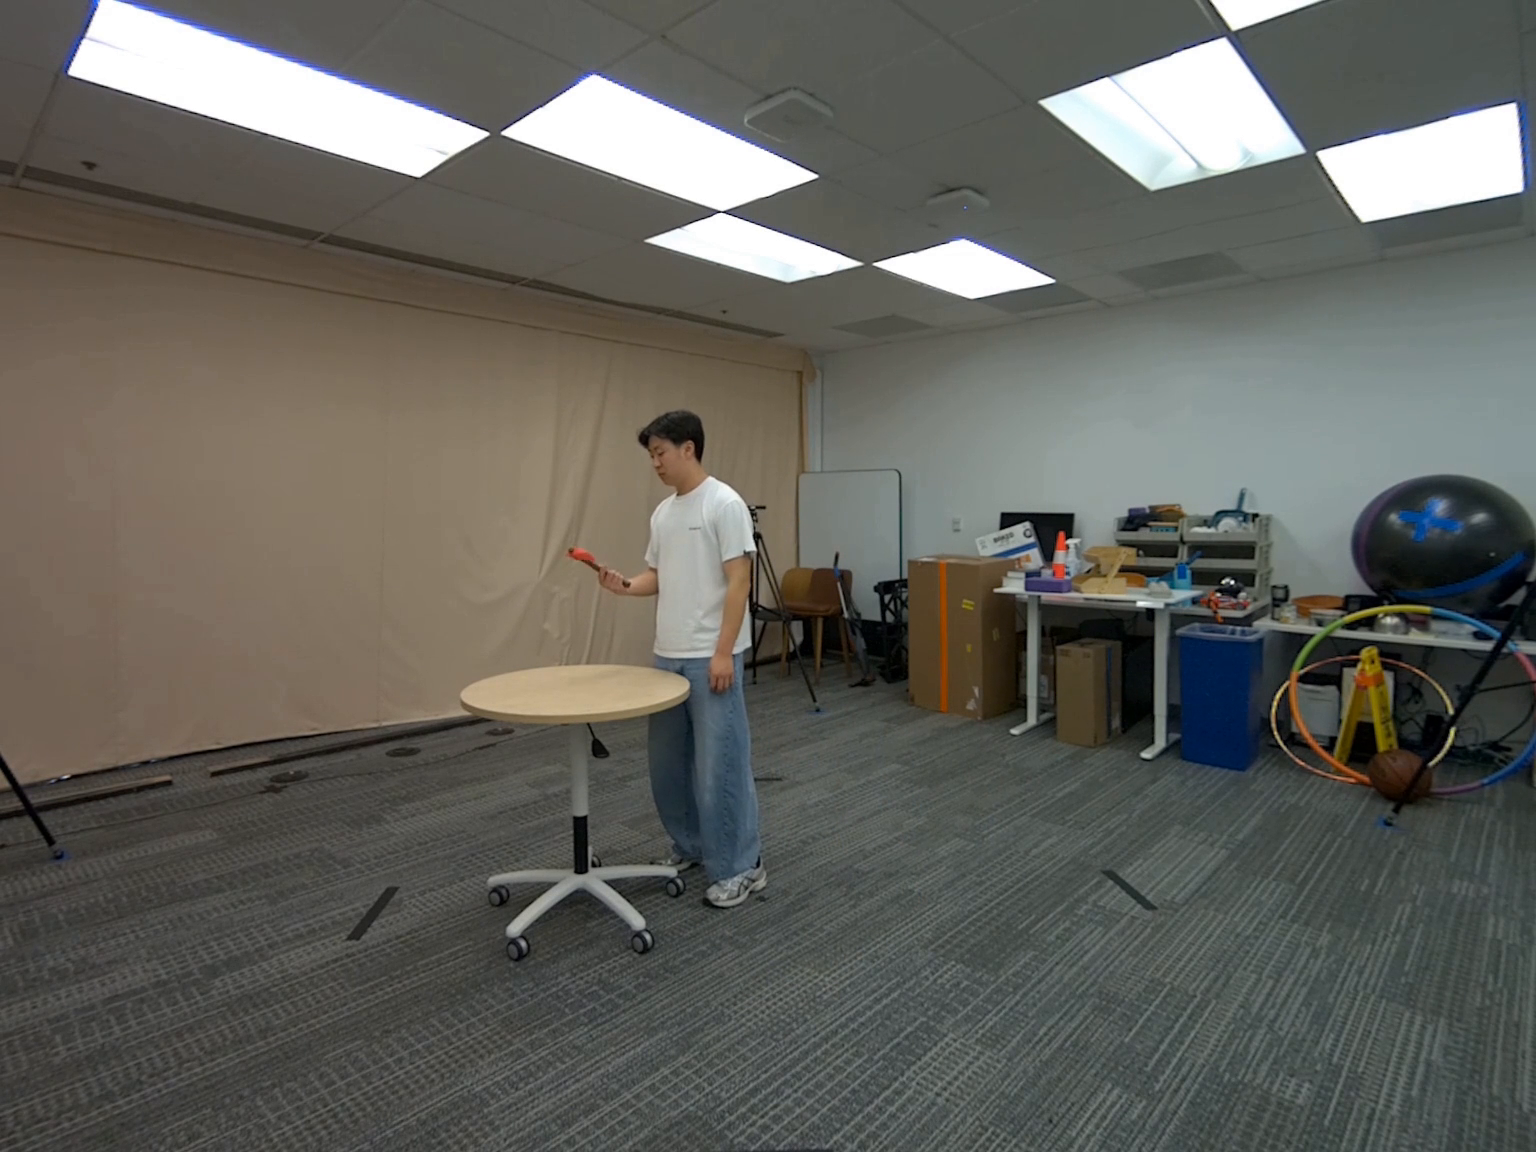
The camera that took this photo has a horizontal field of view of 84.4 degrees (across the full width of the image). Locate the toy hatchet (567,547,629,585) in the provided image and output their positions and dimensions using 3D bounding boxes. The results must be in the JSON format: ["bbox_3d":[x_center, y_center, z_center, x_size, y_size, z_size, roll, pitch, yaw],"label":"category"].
[{"bbox_3d":[-0.597,-0.032,3.014,0.264,0.030,0.133,28,-24,-18],"label":"toy hatchet"}]
